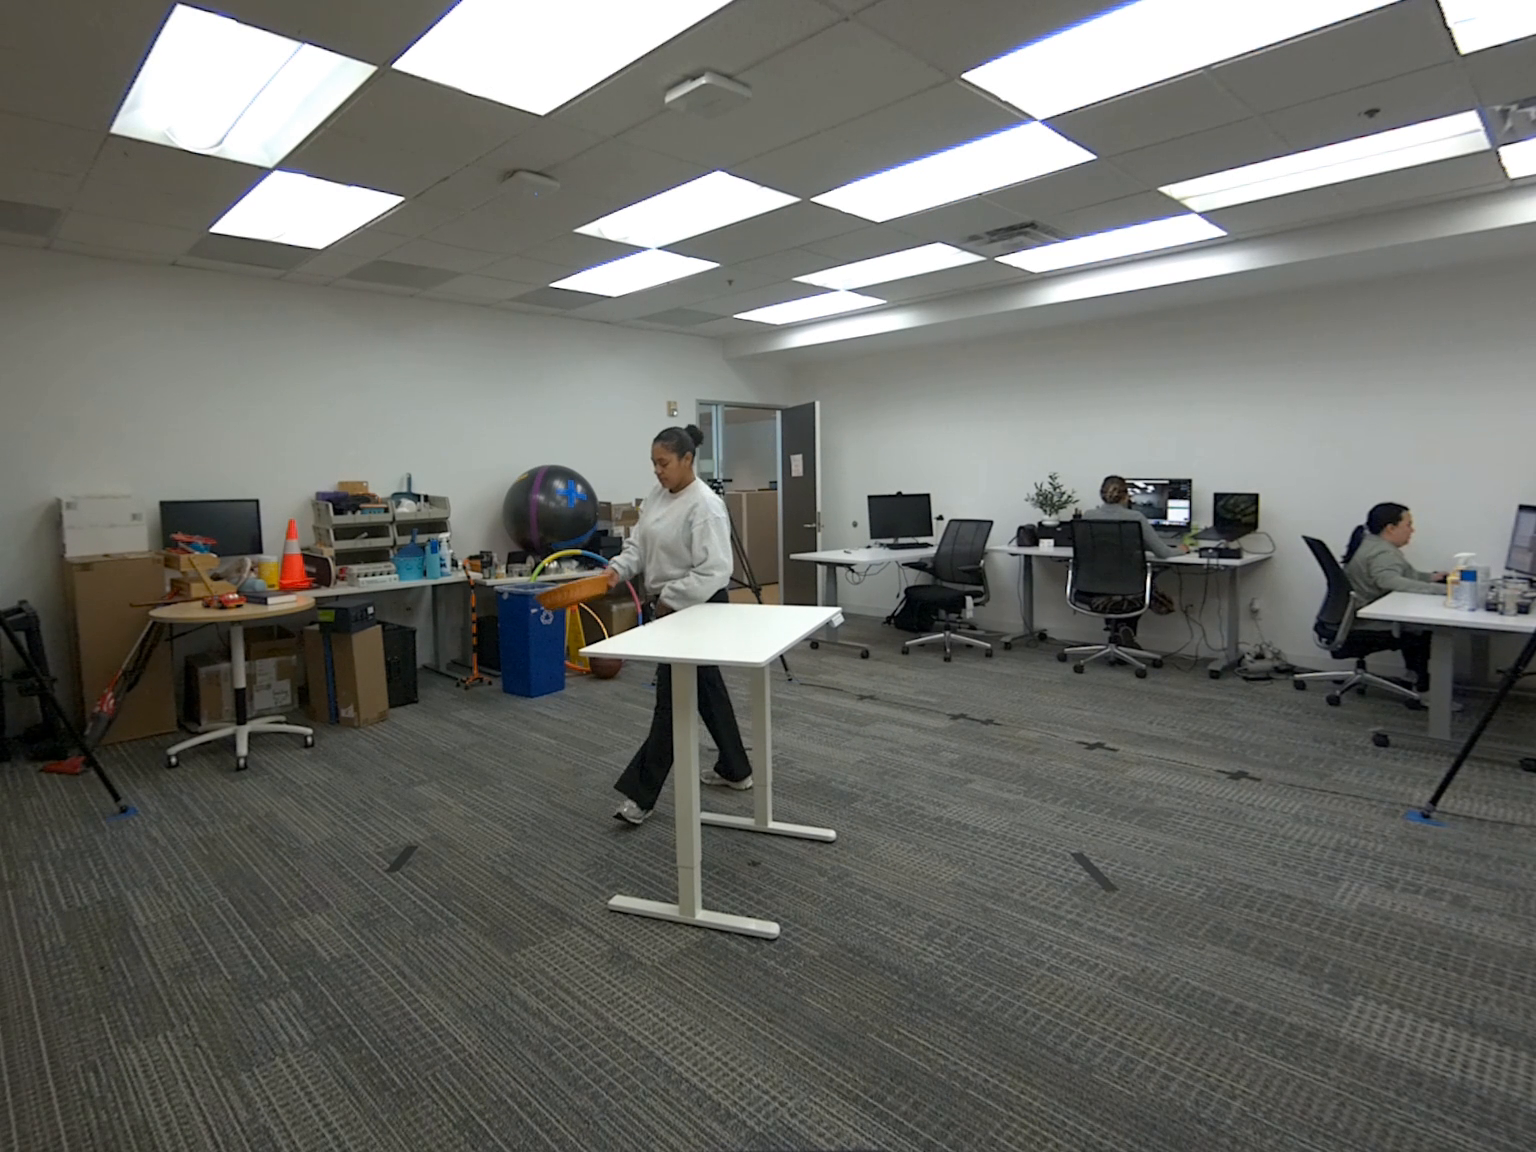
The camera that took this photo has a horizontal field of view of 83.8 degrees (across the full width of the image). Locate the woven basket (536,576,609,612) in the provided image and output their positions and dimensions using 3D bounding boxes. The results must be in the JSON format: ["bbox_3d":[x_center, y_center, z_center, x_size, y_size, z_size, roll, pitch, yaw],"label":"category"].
[{"bbox_3d":[-0.776,0.078,3.415,0.257,0.073,0.343,-17,-1,33],"label":"woven basket"}]
